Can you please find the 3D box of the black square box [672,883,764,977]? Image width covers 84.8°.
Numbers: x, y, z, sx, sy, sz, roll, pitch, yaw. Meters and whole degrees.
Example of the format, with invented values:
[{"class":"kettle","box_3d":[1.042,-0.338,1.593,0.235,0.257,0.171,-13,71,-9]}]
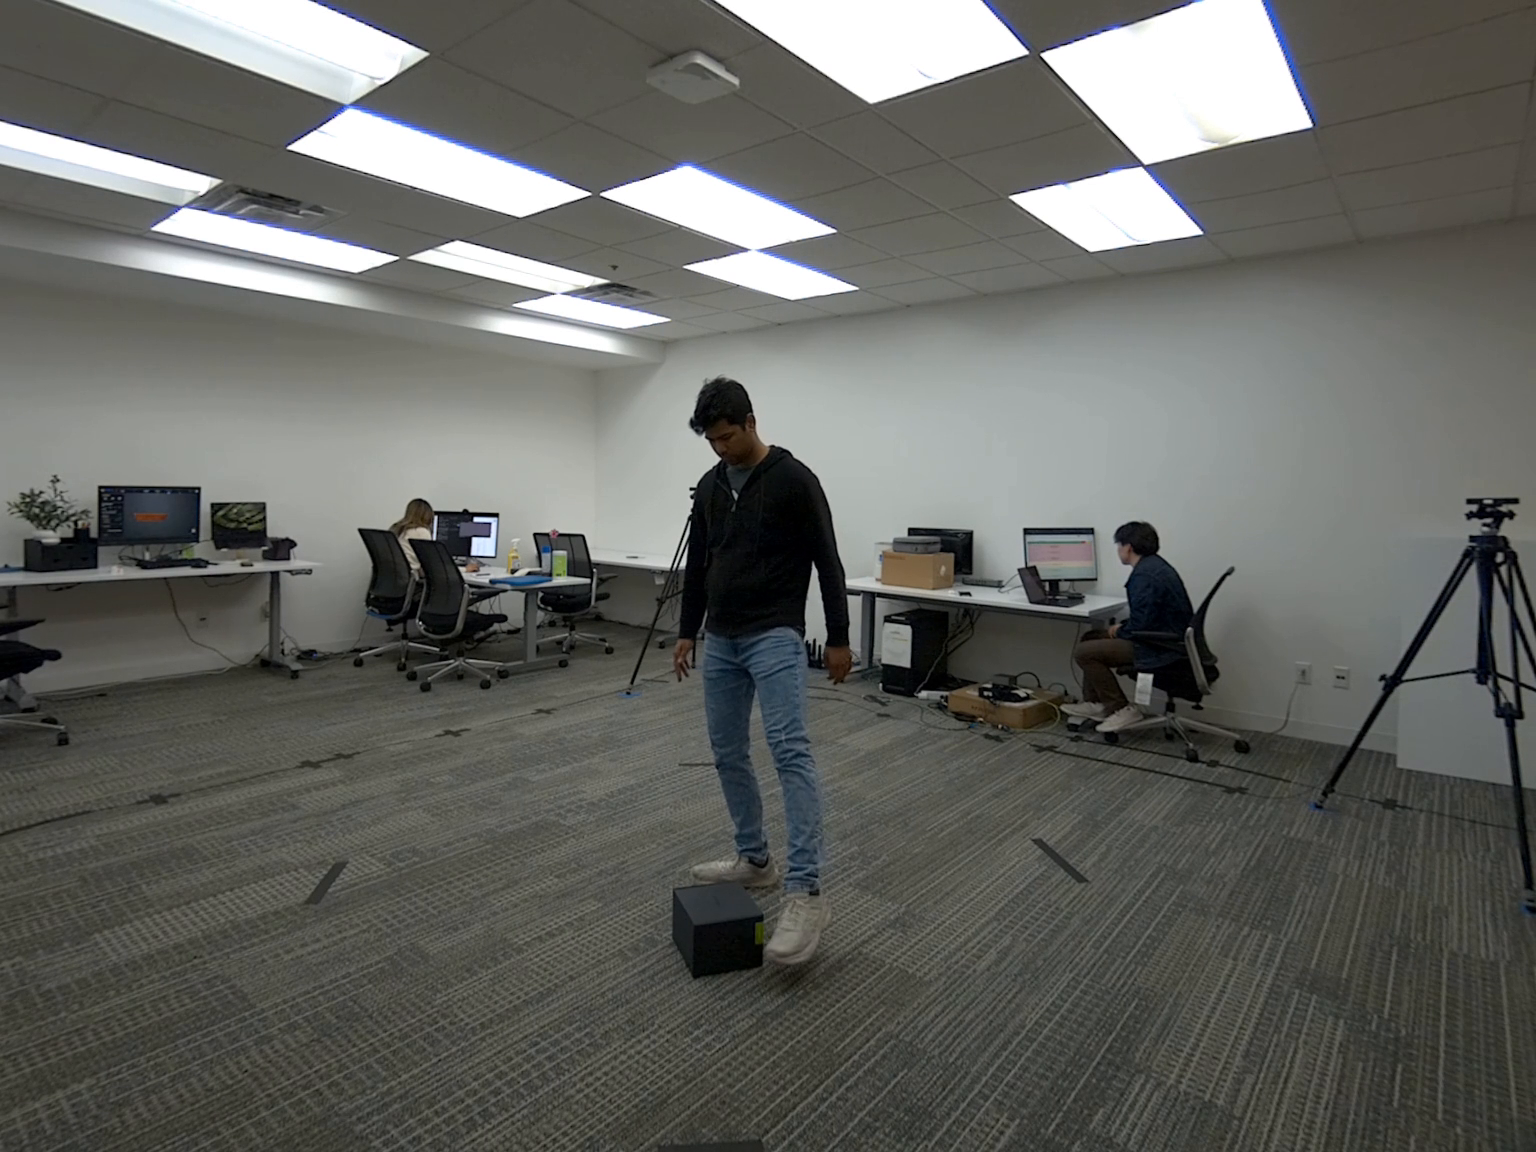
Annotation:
[{"class":"black square box","box_3d":[-0.172,1.037,2.549,0.212,0.155,0.233,0,5,-21]}]
